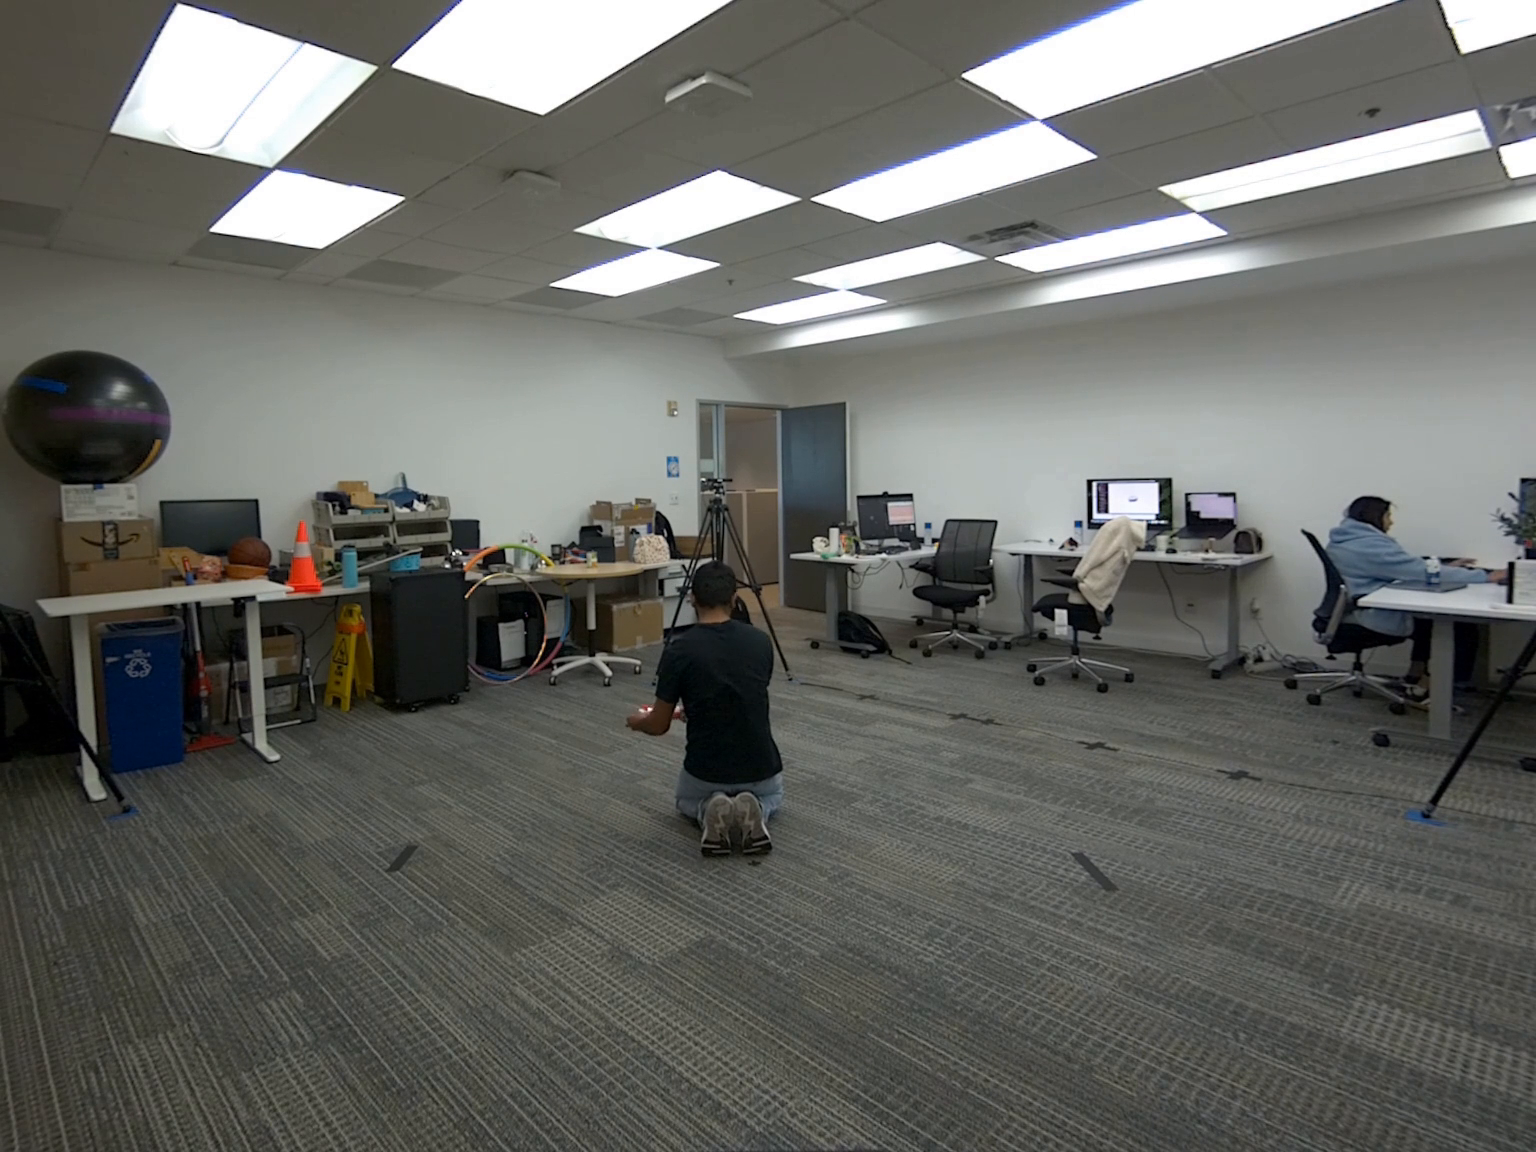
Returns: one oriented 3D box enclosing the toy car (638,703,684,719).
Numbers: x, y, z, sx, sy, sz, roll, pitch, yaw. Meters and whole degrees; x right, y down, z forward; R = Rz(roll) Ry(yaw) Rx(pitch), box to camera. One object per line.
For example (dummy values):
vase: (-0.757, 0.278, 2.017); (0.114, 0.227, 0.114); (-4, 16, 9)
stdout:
toy car: (-0.473, 0.613, 3.738); (0.249, 0.083, 0.133); (6, -4, -22)
